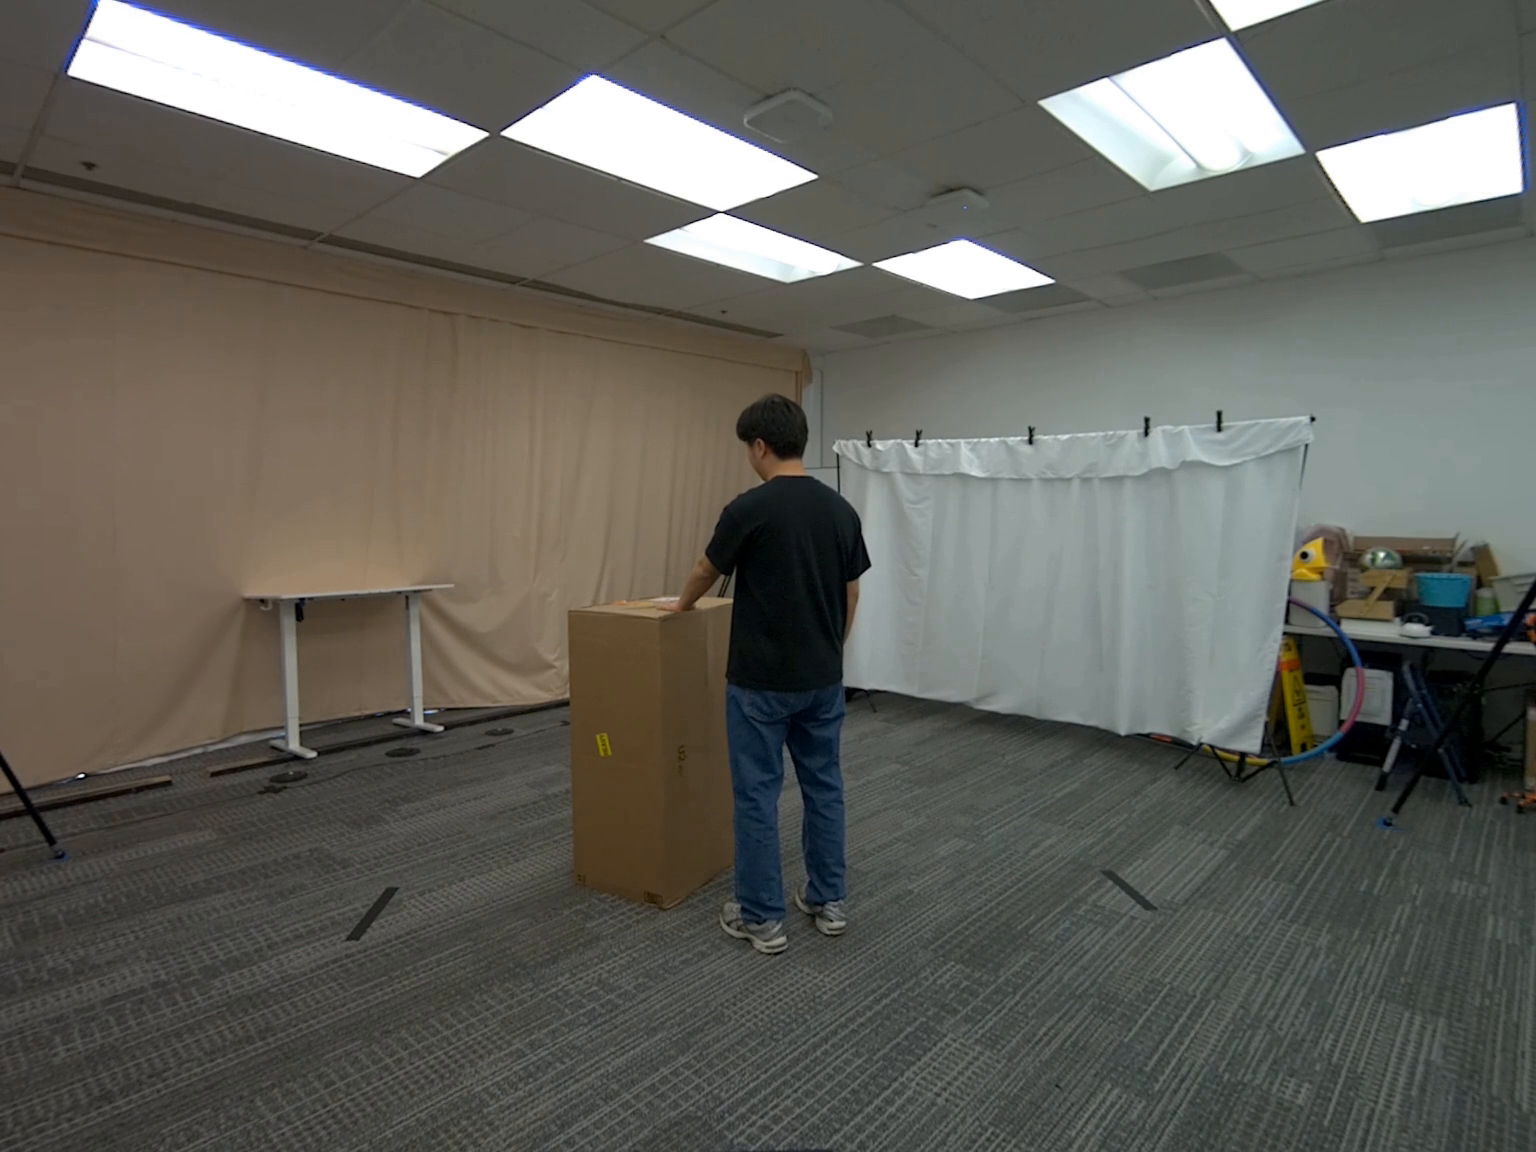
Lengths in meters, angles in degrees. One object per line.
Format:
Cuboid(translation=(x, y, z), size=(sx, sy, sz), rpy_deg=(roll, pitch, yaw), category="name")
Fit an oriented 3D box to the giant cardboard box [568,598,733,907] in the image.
Cuboid(translation=(-0.406, 0.614, 3.230), size=(0.460, 1.025, 0.568), rpy_deg=(1, 3, 32), category="giant cardboard box")
